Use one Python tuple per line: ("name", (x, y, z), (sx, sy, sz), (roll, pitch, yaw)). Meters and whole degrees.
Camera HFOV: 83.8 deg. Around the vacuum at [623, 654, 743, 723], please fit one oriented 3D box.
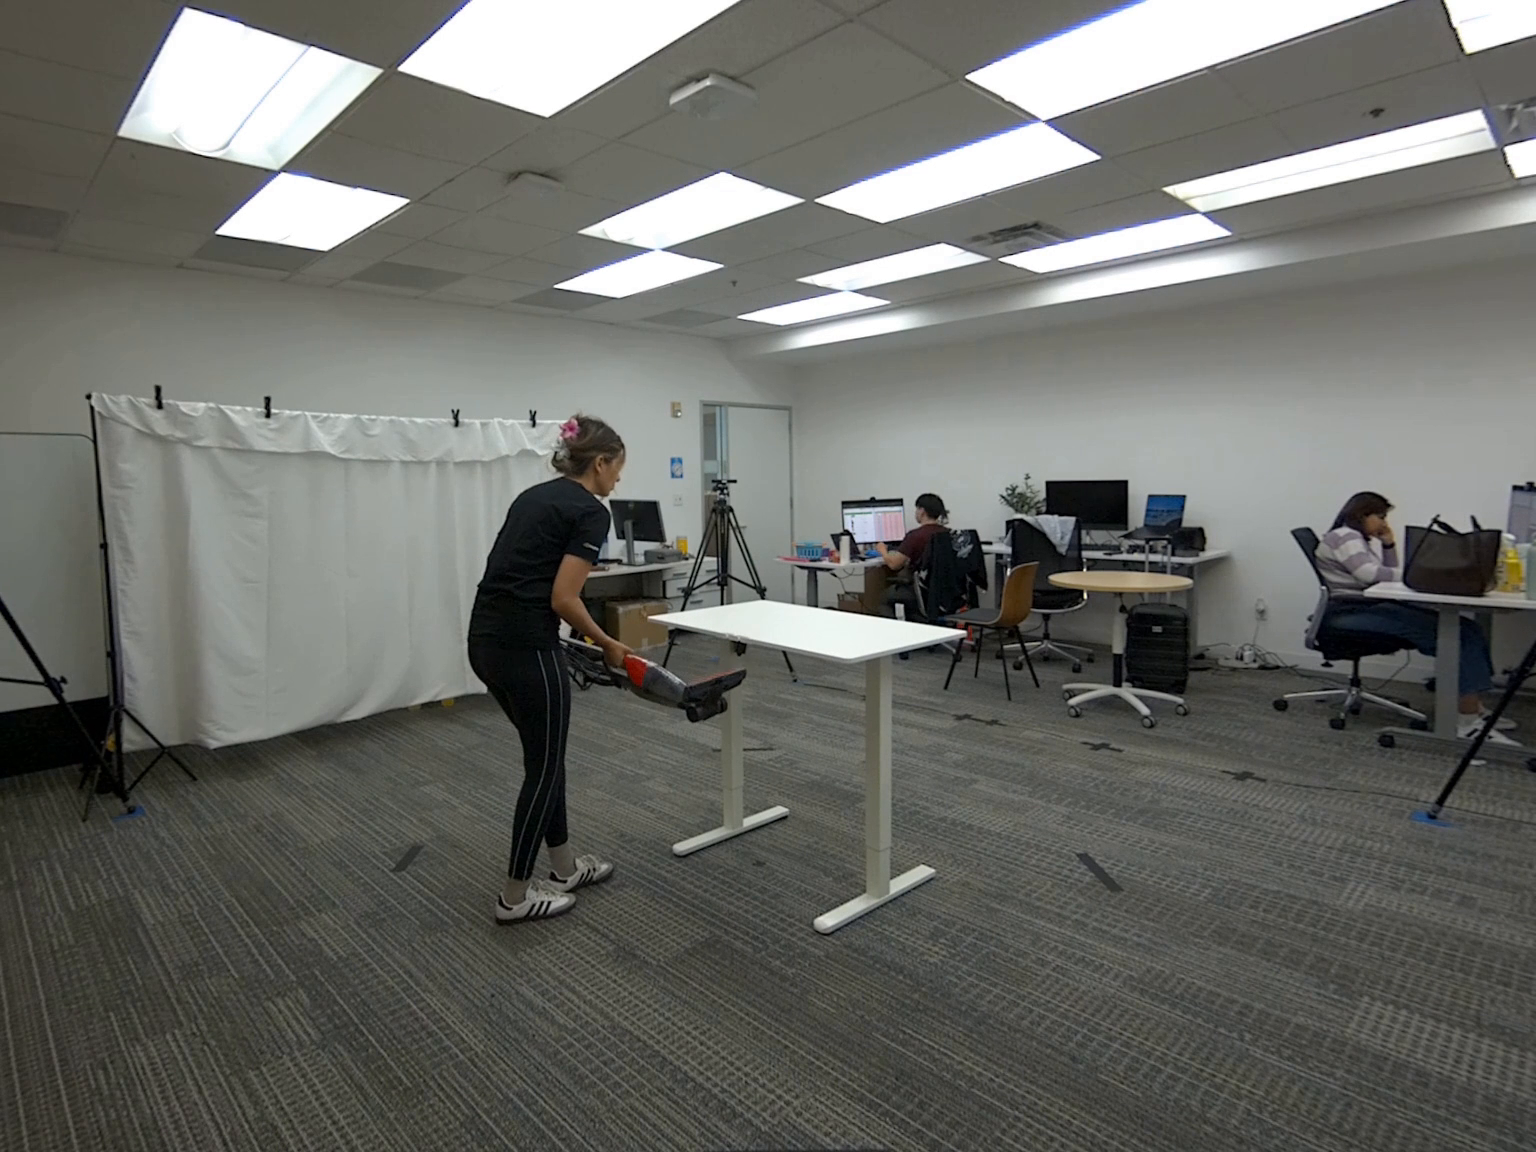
("vacuum", (-0.569, 0.305, 2.913), (0.247, 0.142, 1.084), (-13, 15, -42))
